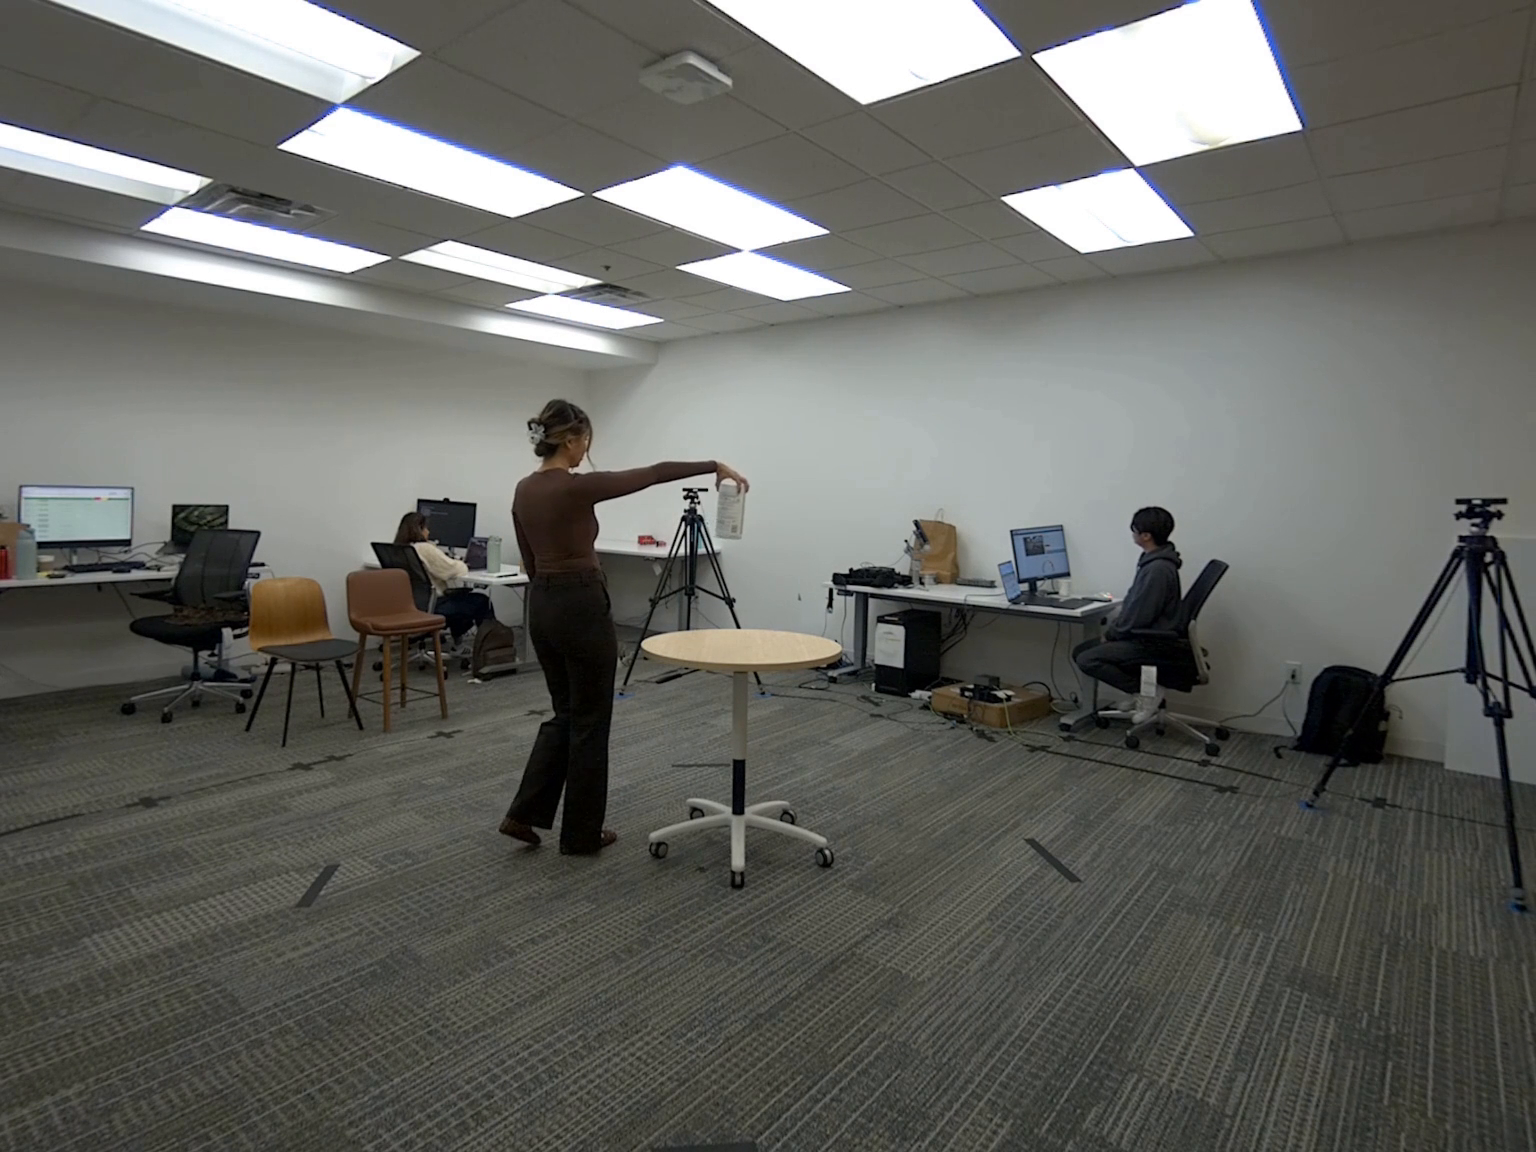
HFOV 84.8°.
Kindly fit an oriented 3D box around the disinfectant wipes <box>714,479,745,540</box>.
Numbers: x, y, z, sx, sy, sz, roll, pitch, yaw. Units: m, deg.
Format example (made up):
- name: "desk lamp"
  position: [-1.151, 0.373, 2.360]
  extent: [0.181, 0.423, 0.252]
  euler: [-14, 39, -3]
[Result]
- name: "disinfectant wipes"
  position: [-0.161, -0.258, 3.382]
  extent: [0.117, 0.216, 0.119]
  euler: [5, 8, -3]
